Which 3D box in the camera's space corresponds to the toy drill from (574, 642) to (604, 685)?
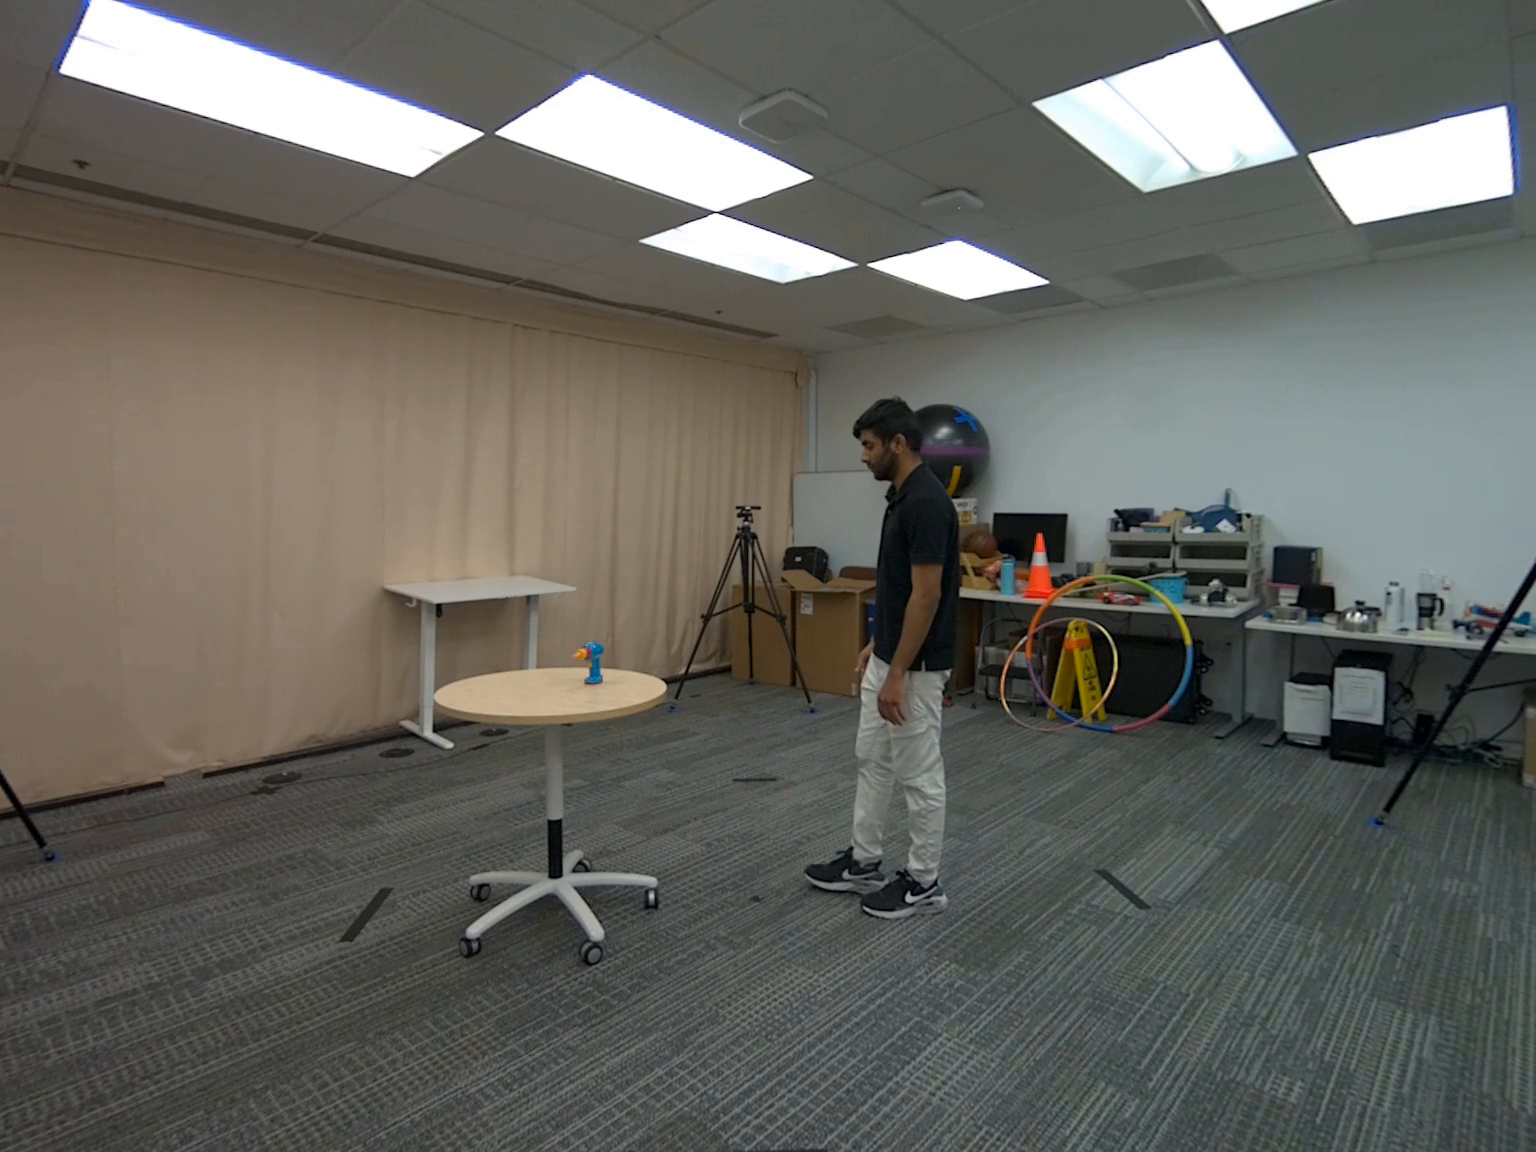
[{"bbox_3d":[-0.619,0.304,2.895,0.062,0.146,0.166,0,3,19],"label":"toy drill"}]
